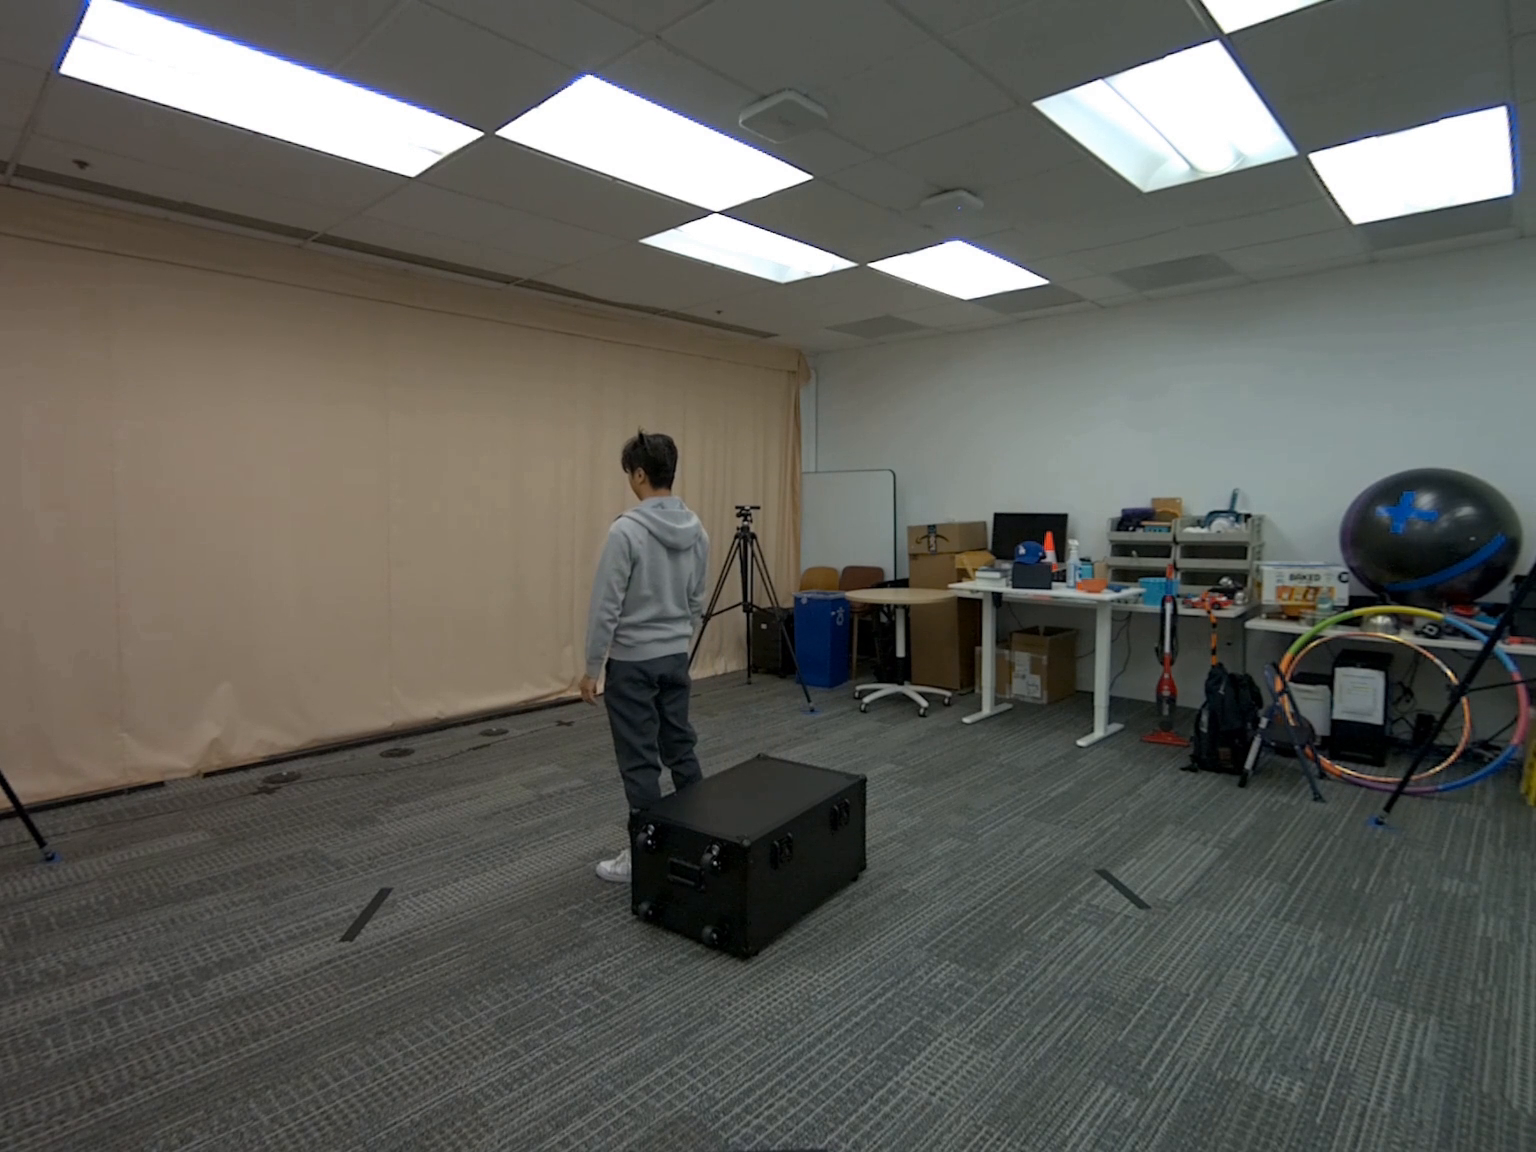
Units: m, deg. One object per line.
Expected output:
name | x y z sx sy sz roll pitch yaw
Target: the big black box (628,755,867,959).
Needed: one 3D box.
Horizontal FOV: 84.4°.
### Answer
big black box | -0.018 0.954 3.010 0.538 0.395 0.837 3 6 35
